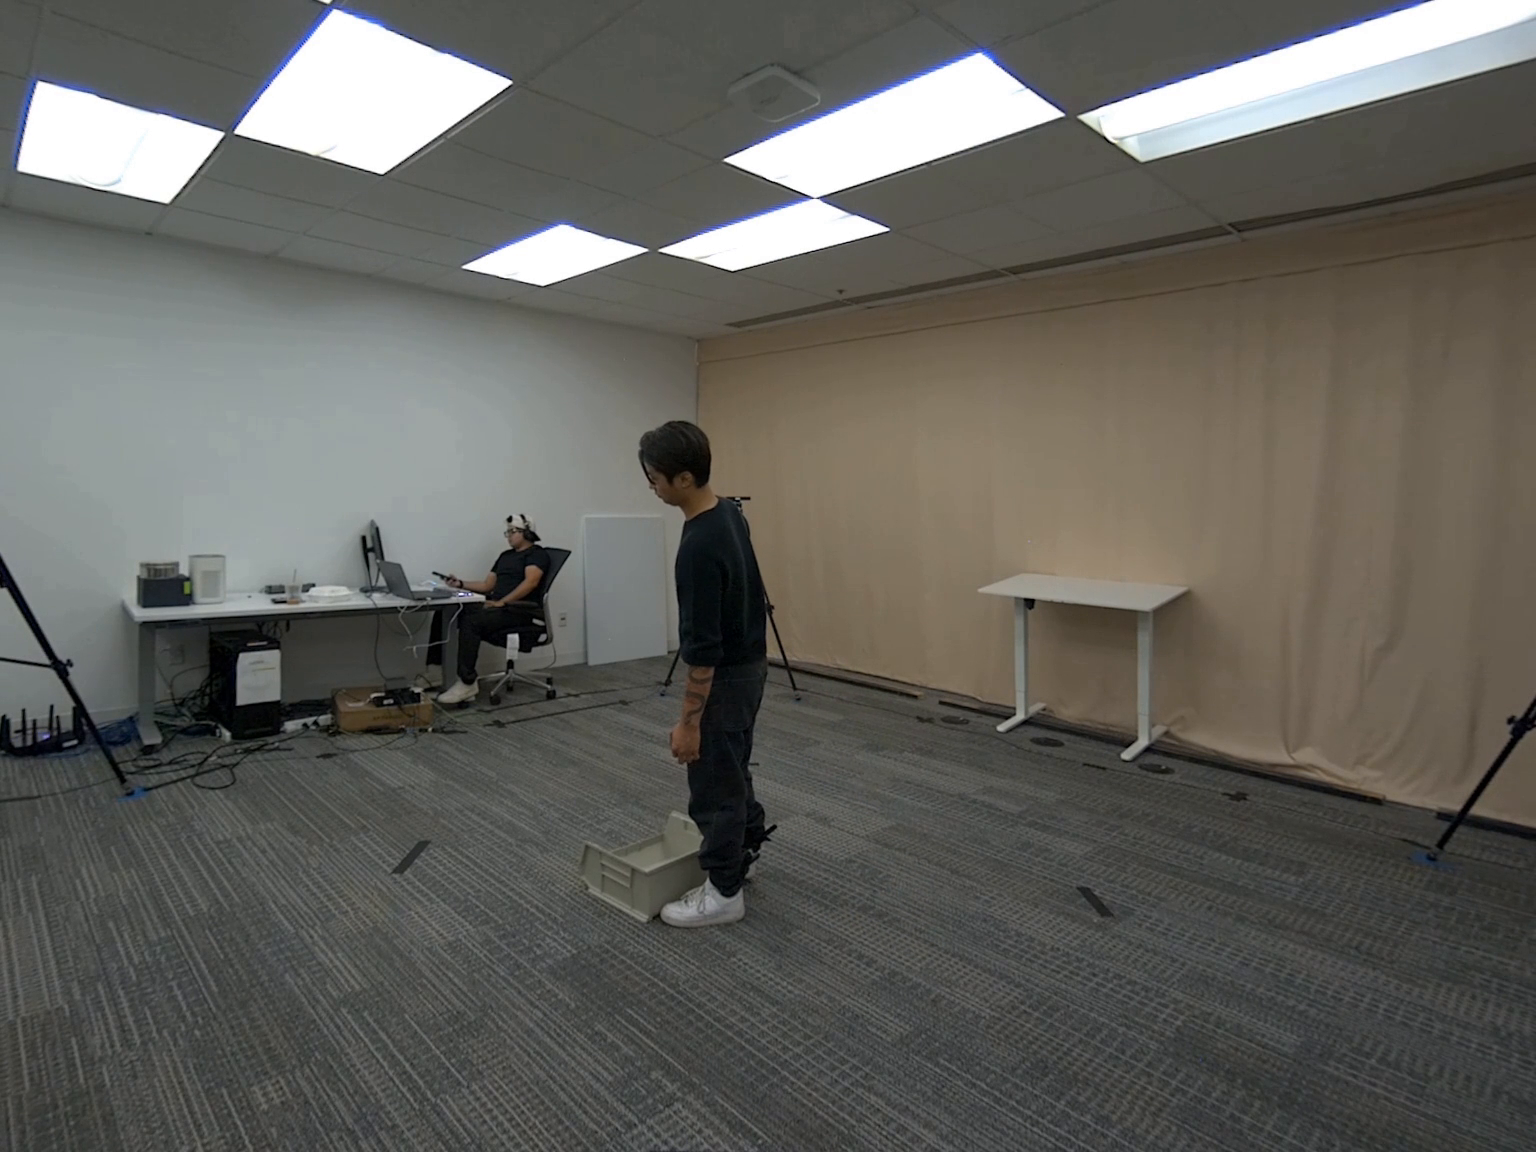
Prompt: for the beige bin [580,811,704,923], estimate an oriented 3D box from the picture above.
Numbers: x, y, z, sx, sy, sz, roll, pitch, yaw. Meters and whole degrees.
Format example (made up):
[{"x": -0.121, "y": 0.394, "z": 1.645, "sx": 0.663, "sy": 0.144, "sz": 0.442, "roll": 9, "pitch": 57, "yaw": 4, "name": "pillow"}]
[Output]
[{"x": -0.402, "y": 1.020, "z": 3.006, "sx": 0.387, "sy": 0.188, "sz": 0.413, "roll": 7, "pitch": 7, "yaw": 42, "name": "beige bin"}]
